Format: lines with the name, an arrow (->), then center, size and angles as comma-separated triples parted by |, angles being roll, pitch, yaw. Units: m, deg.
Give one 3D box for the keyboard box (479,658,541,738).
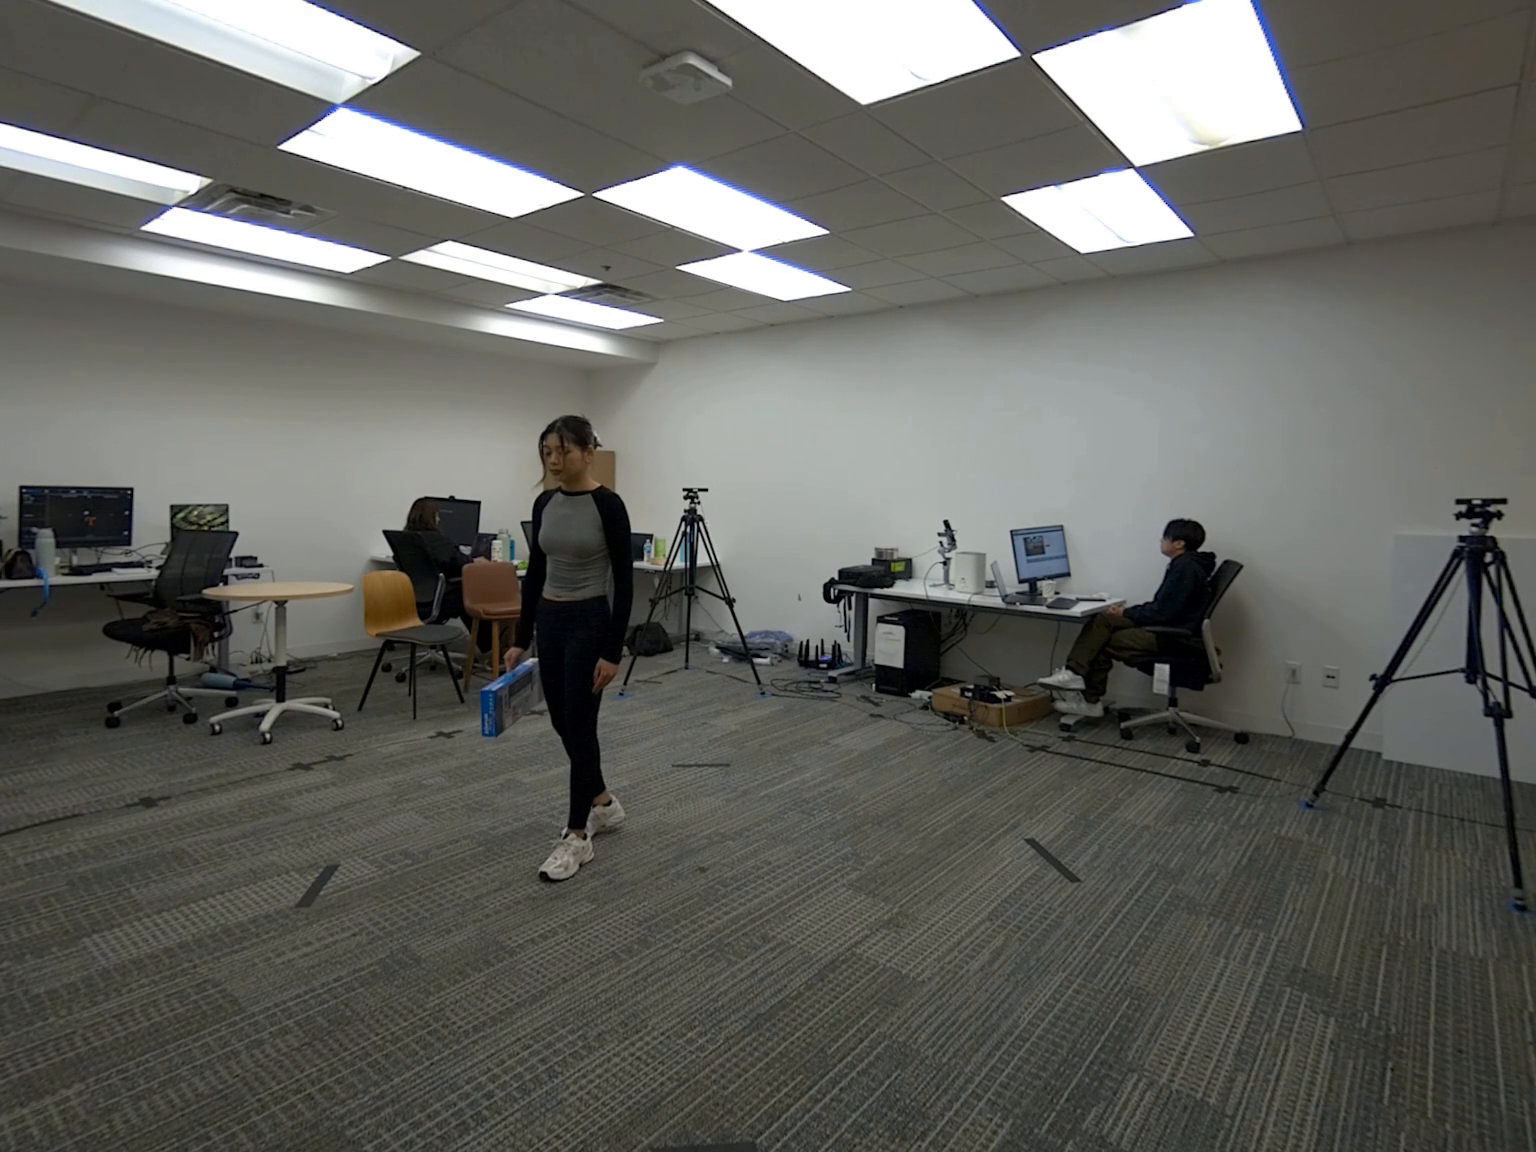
keyboard box -> -0.966, 0.444, 3.210 | 0.059, 0.175, 0.435 | 1, 8, 7
